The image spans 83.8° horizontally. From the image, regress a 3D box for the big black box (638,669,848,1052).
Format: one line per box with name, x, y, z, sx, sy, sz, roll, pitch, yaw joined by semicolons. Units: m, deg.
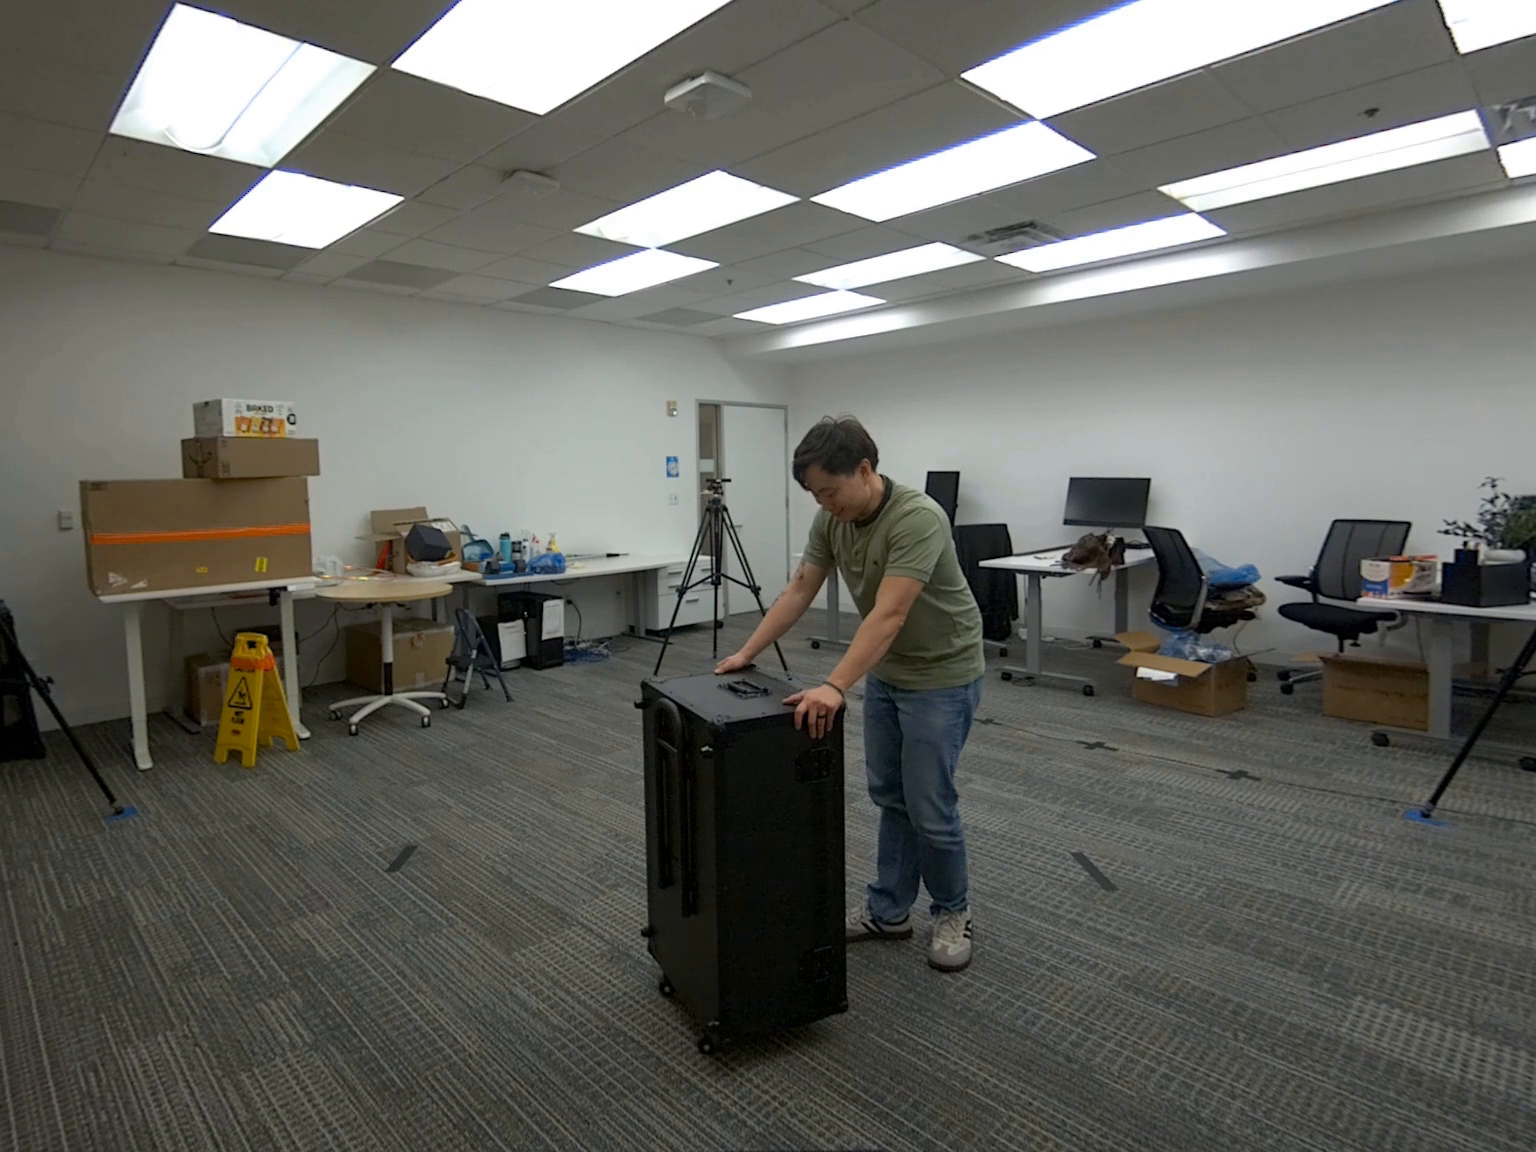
big black box;-0.081;0.724;2.230;0.388;0.858;0.535;-4;5;-27
